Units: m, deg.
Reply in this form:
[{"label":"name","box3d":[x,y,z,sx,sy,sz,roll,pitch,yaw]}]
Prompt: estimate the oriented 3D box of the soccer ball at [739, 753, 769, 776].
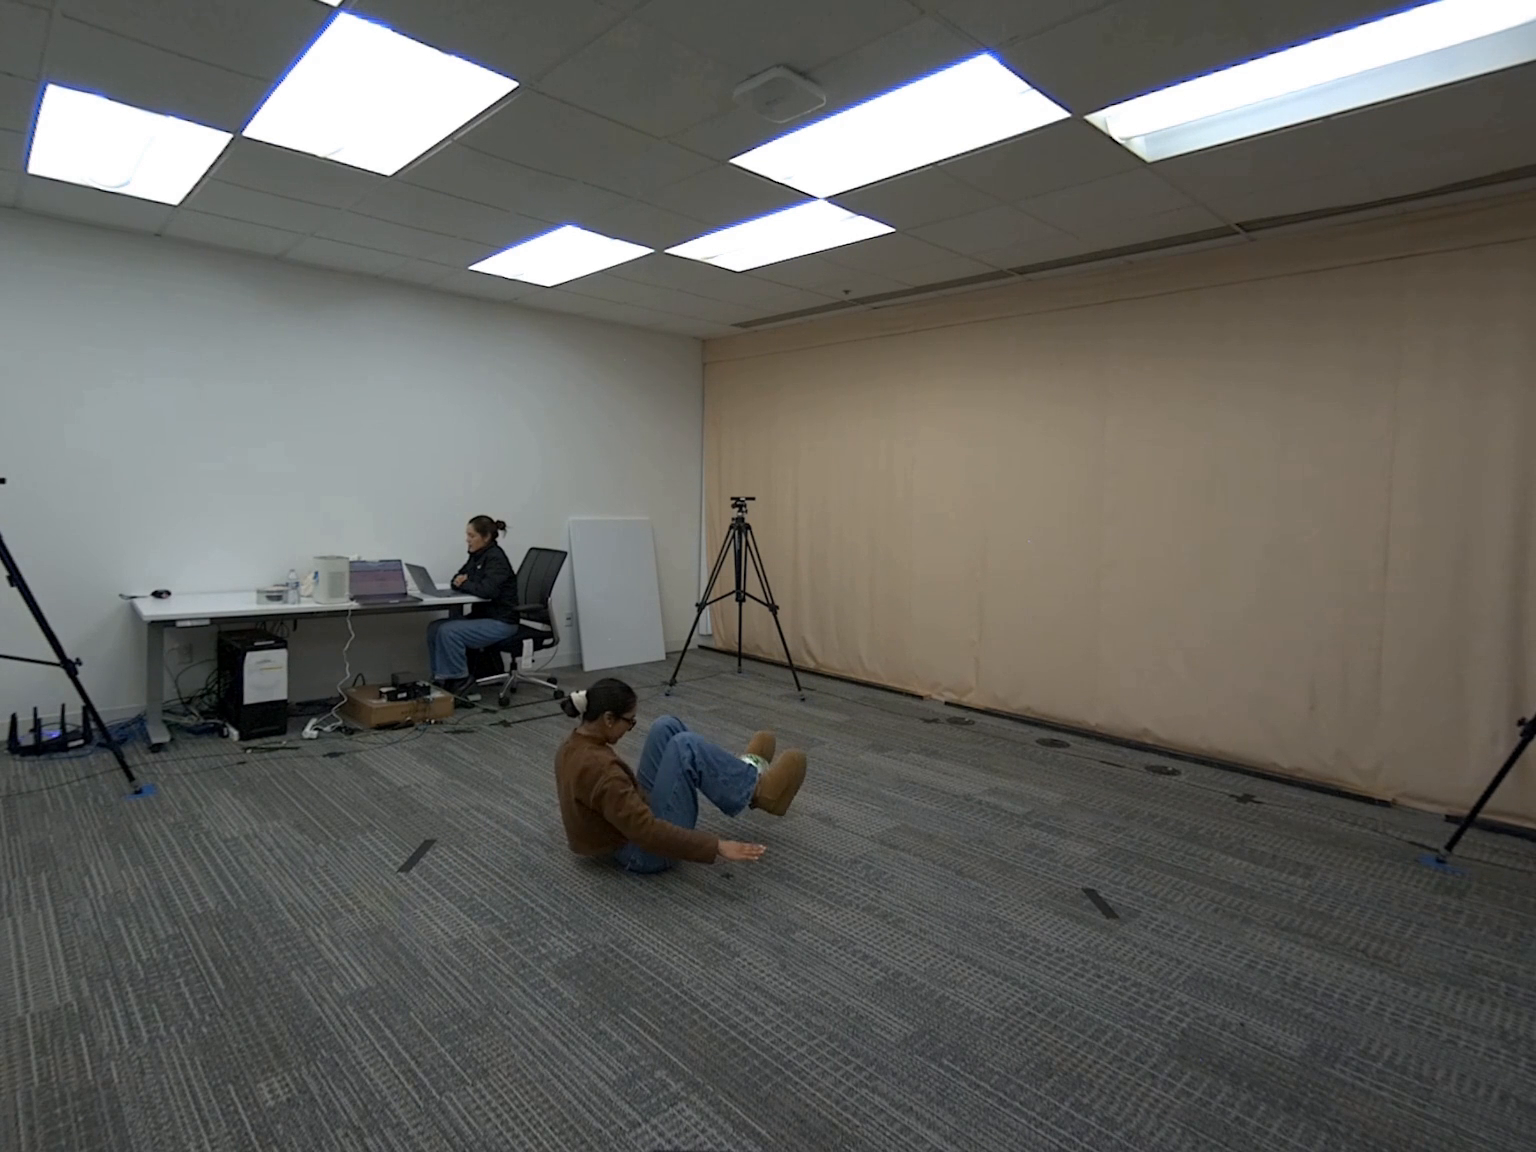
[{"label":"soccer ball","box3d":[-0.090,0.815,3.399,0.187,0.187,0.188,1,4,-1]}]
